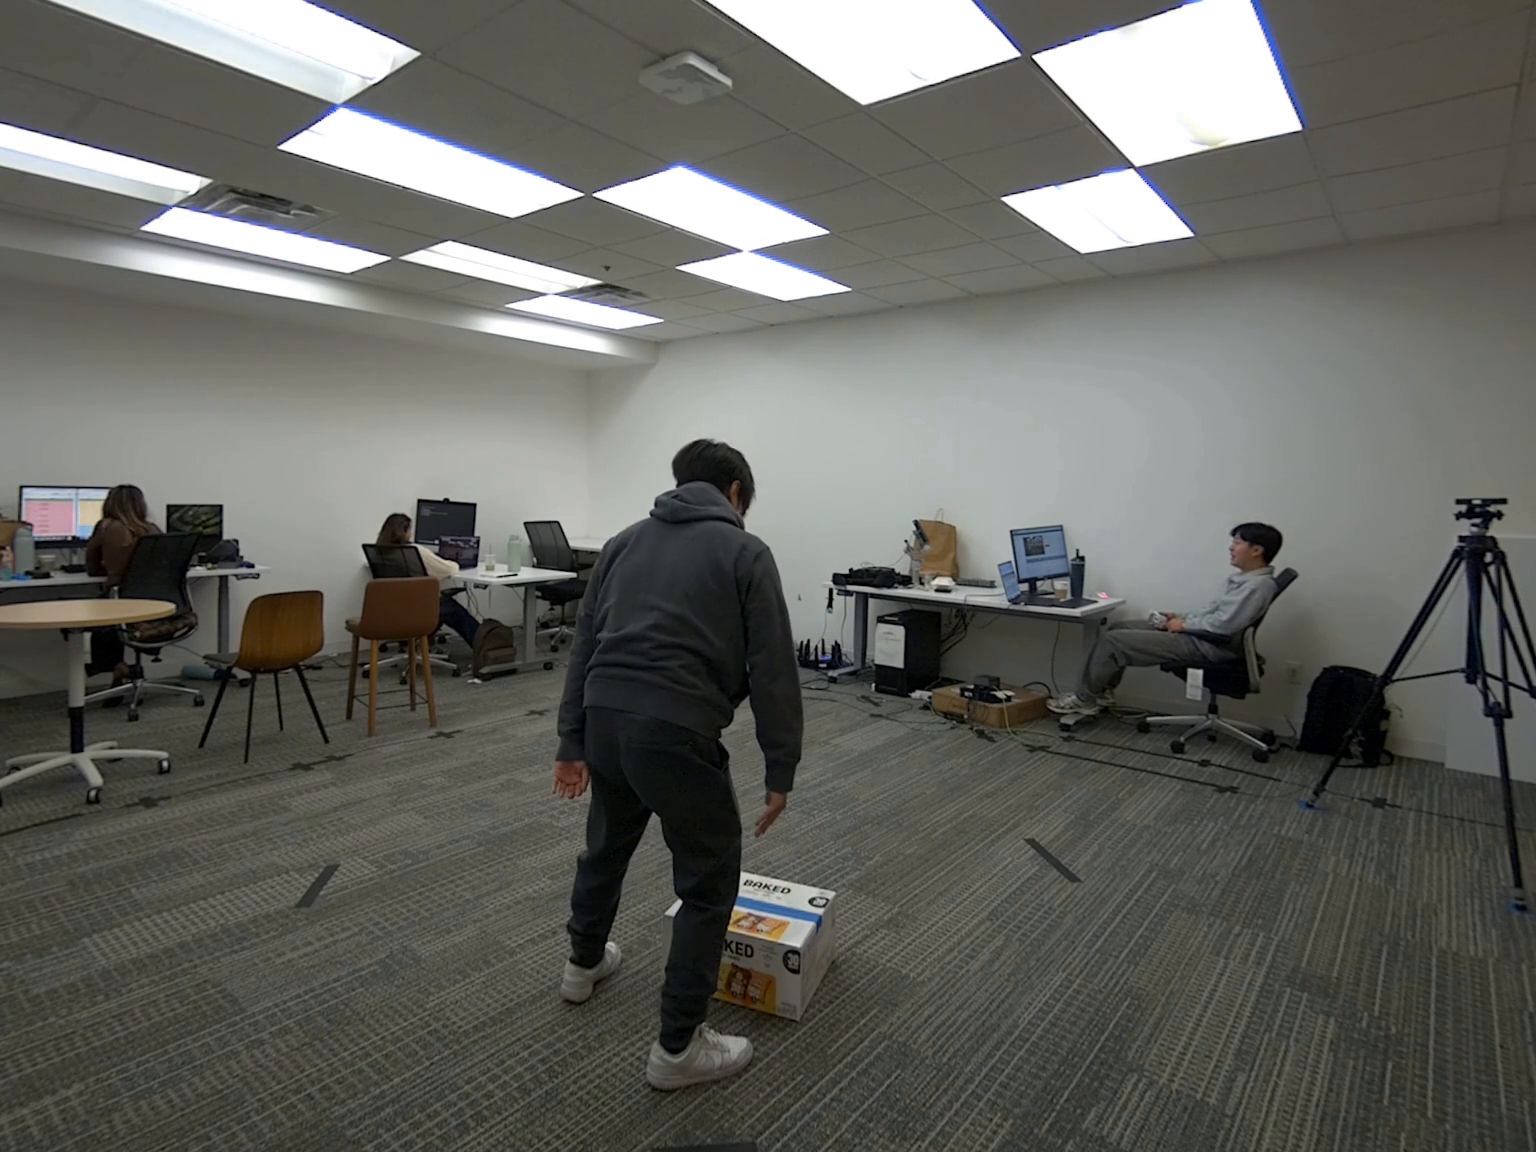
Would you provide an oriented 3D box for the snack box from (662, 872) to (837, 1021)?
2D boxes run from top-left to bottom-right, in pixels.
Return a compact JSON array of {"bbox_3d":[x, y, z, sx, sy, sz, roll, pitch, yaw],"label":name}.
[{"bbox_3d":[-0.053,1.036,2.445,0.415,0.205,0.334,3,6,22],"label":"snack box"}]
